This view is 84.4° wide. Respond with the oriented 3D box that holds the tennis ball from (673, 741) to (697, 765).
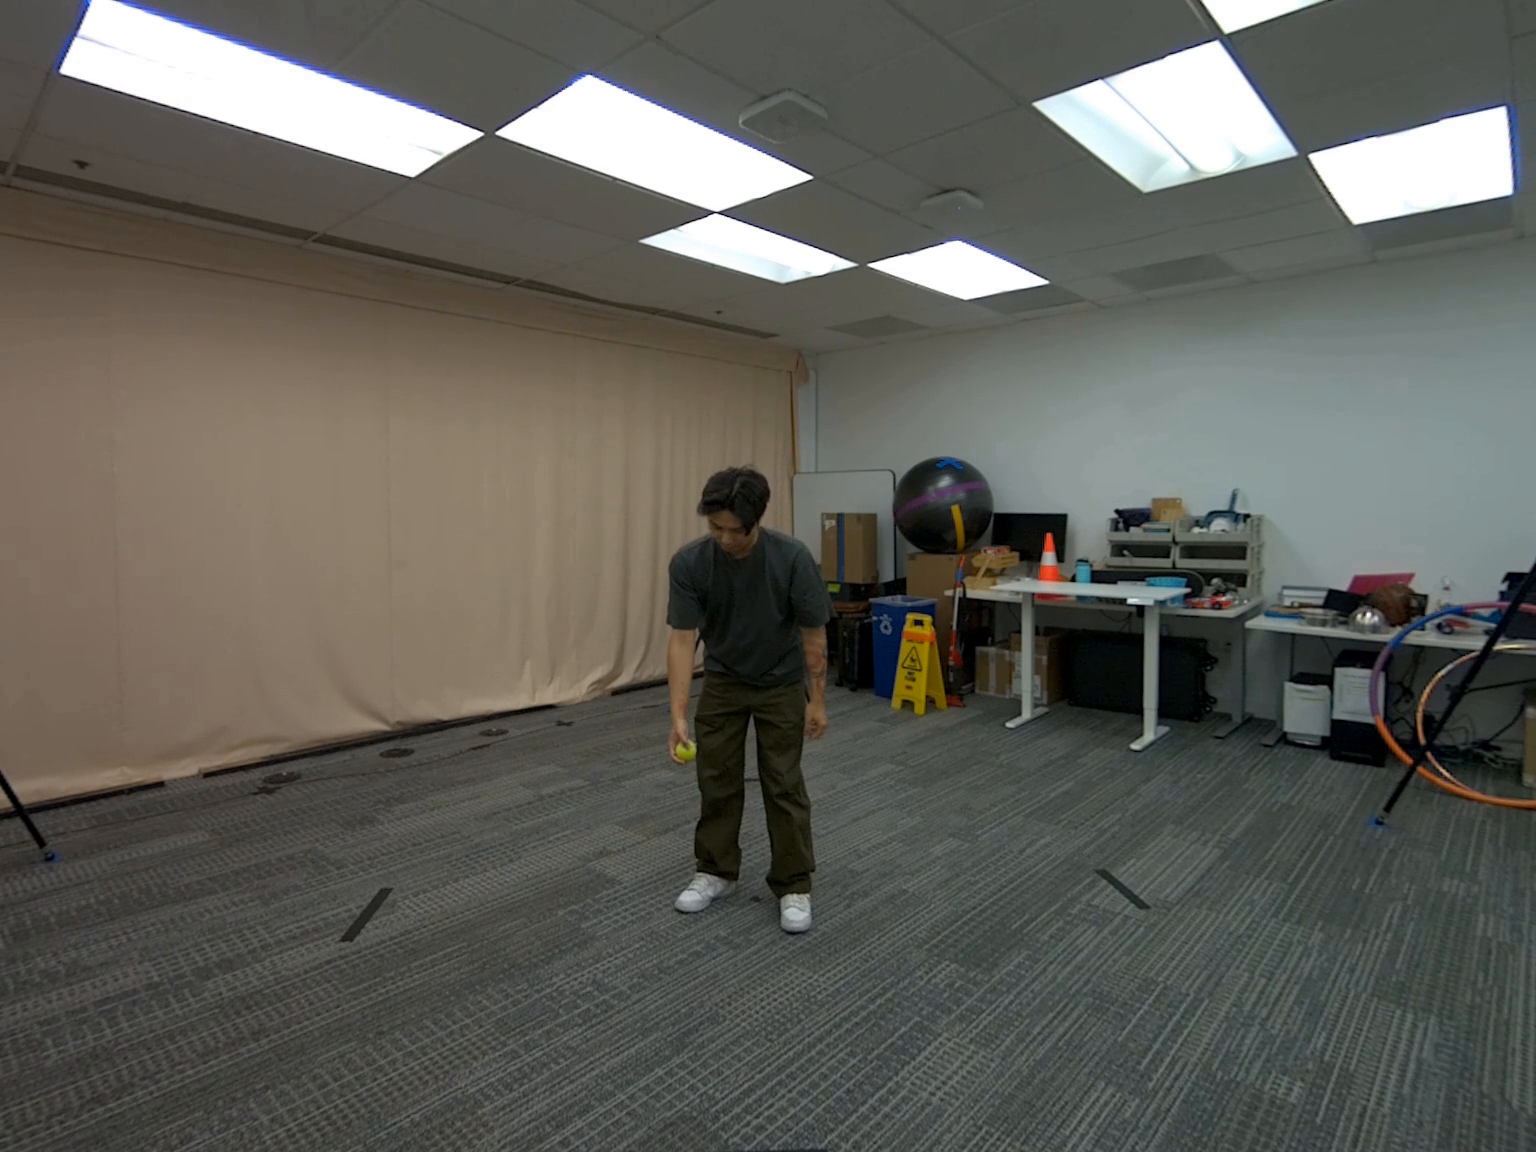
[{"bbox_3d":[-0.261,0.536,2.676,0.066,0.066,0.067,0,4,-2],"label":"tennis ball"}]
